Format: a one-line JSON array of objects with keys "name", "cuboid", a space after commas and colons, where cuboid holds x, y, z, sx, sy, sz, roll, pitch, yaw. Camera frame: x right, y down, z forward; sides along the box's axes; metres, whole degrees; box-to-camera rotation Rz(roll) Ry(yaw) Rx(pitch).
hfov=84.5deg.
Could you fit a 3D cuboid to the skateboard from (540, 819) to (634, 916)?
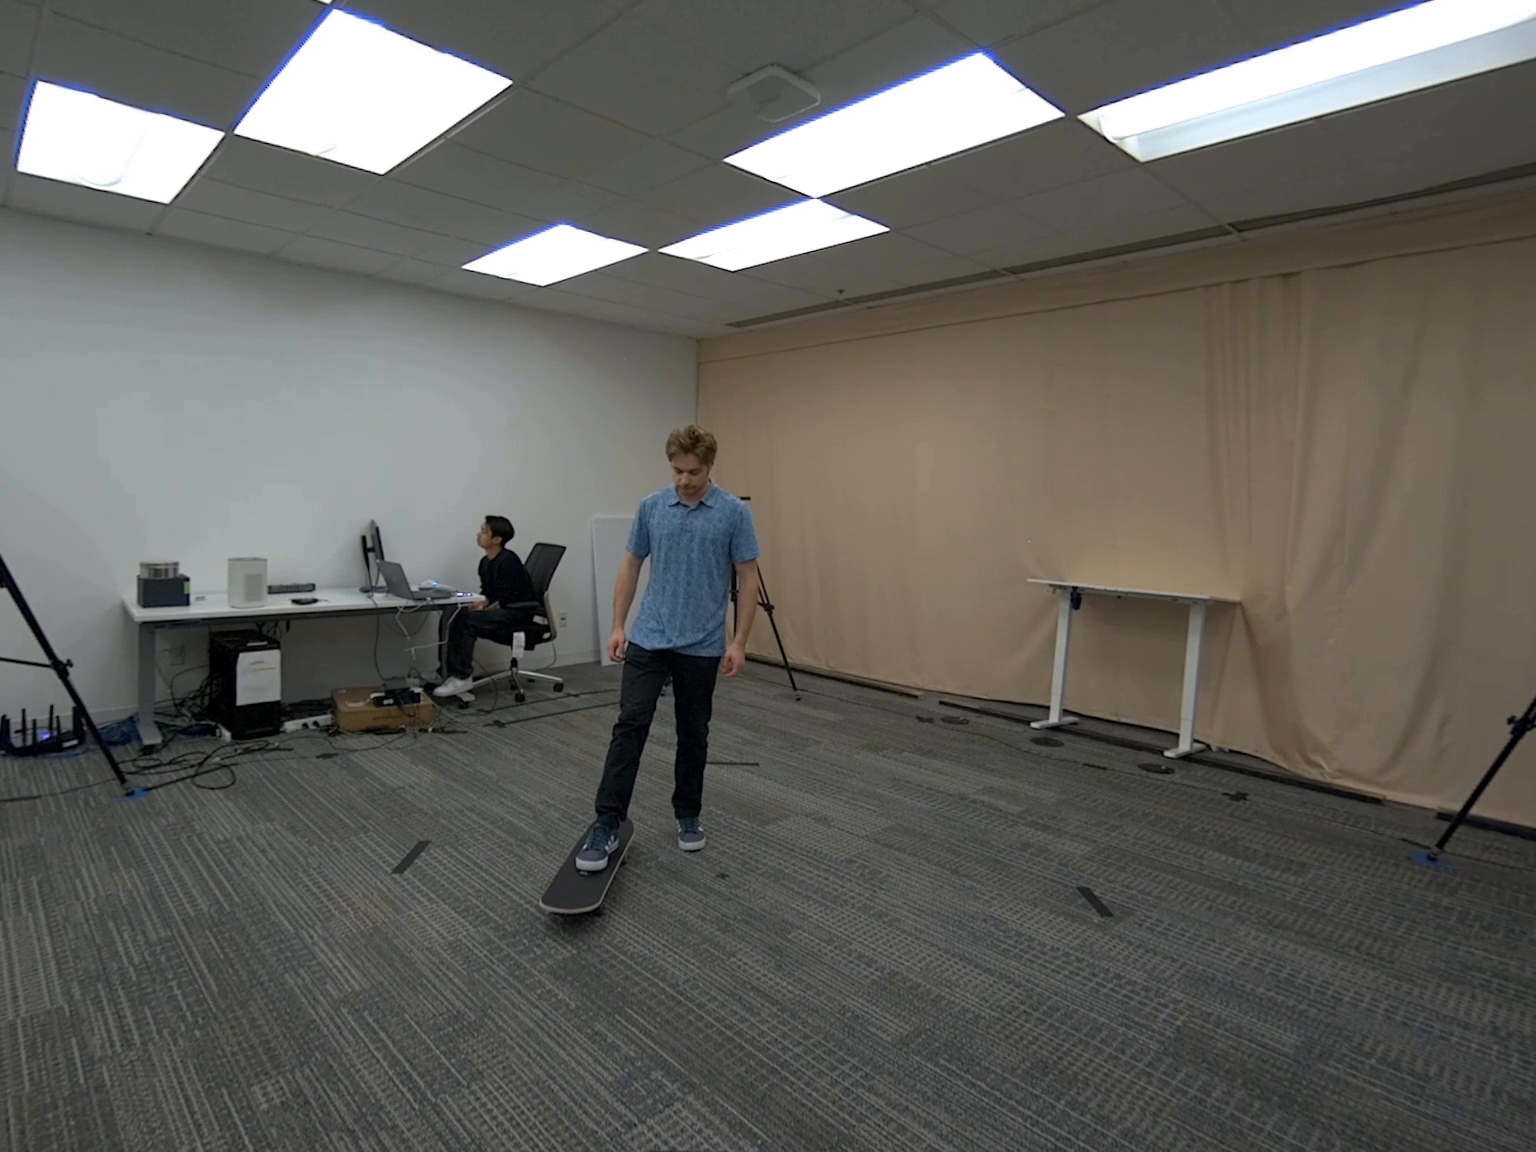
[{"name": "skateboard", "cuboid": [-0.627, 1.045, 3.003, 0.194, 0.110, 0.785, 3, 5, 2]}]
